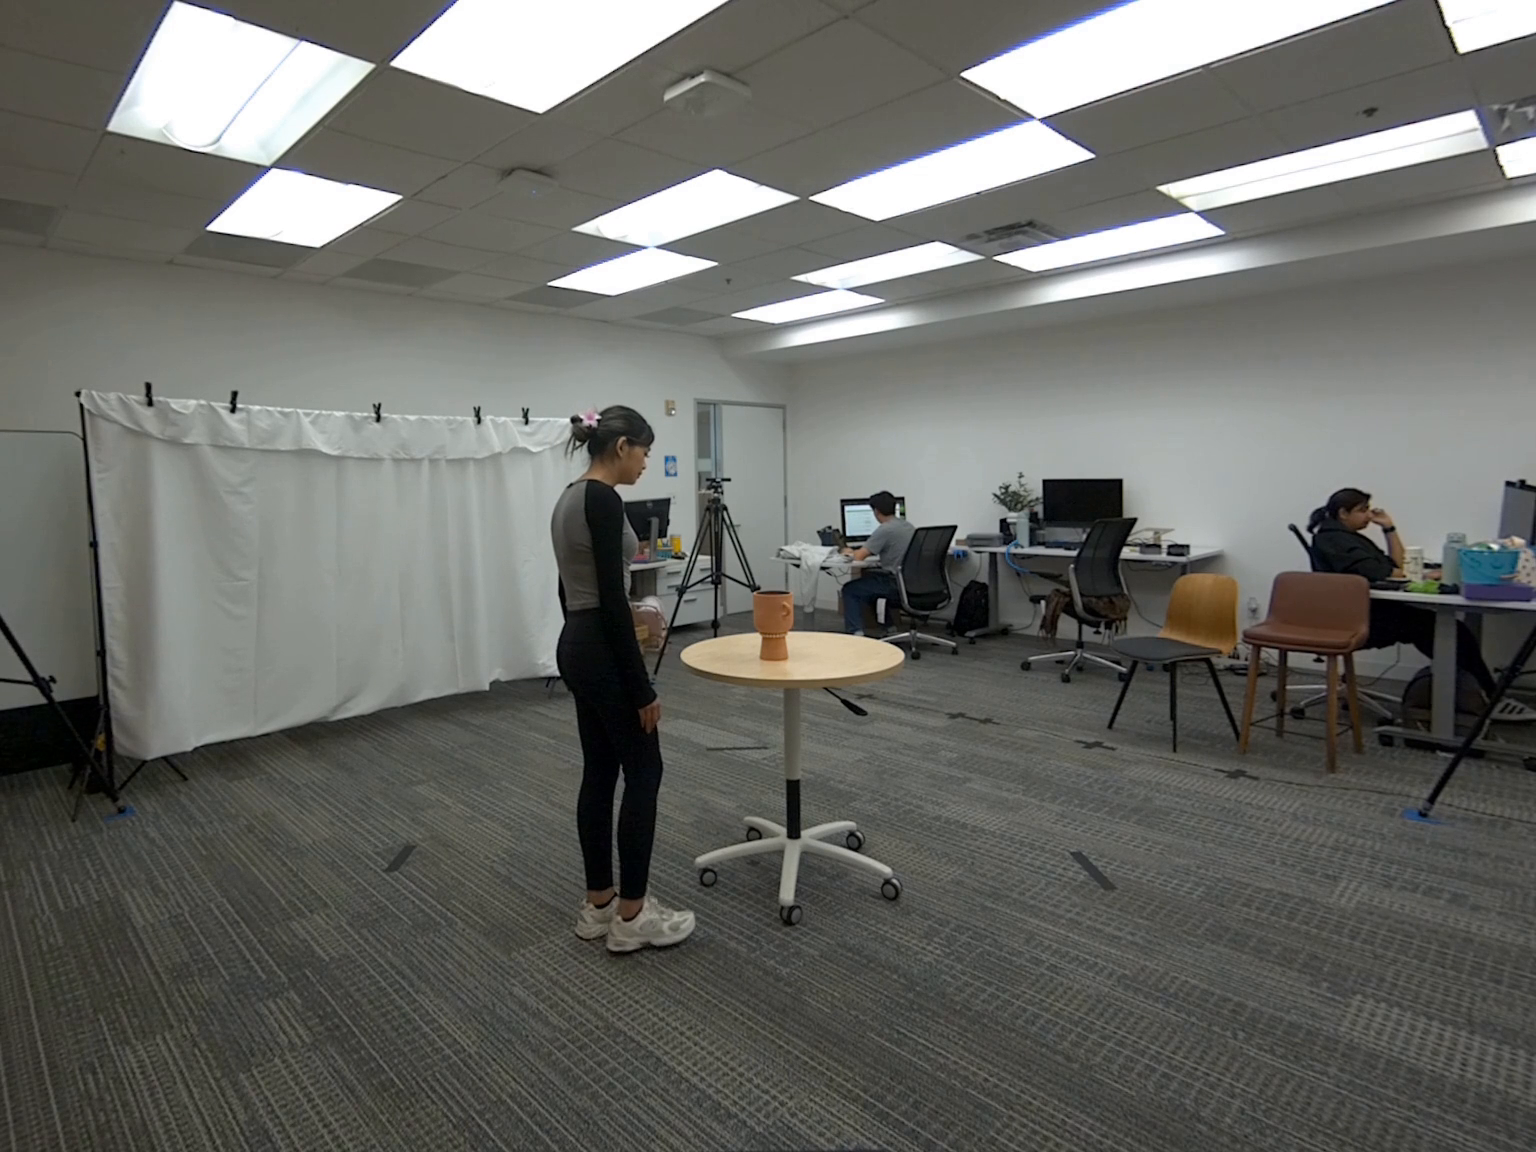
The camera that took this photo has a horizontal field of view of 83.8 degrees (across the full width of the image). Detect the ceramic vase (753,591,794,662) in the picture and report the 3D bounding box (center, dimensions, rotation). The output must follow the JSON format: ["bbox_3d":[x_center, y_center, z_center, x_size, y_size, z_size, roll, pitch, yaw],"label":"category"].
[{"bbox_3d":[0.028,0.167,2.864,0.136,0.219,0.158,0,4,7],"label":"ceramic vase"}]
